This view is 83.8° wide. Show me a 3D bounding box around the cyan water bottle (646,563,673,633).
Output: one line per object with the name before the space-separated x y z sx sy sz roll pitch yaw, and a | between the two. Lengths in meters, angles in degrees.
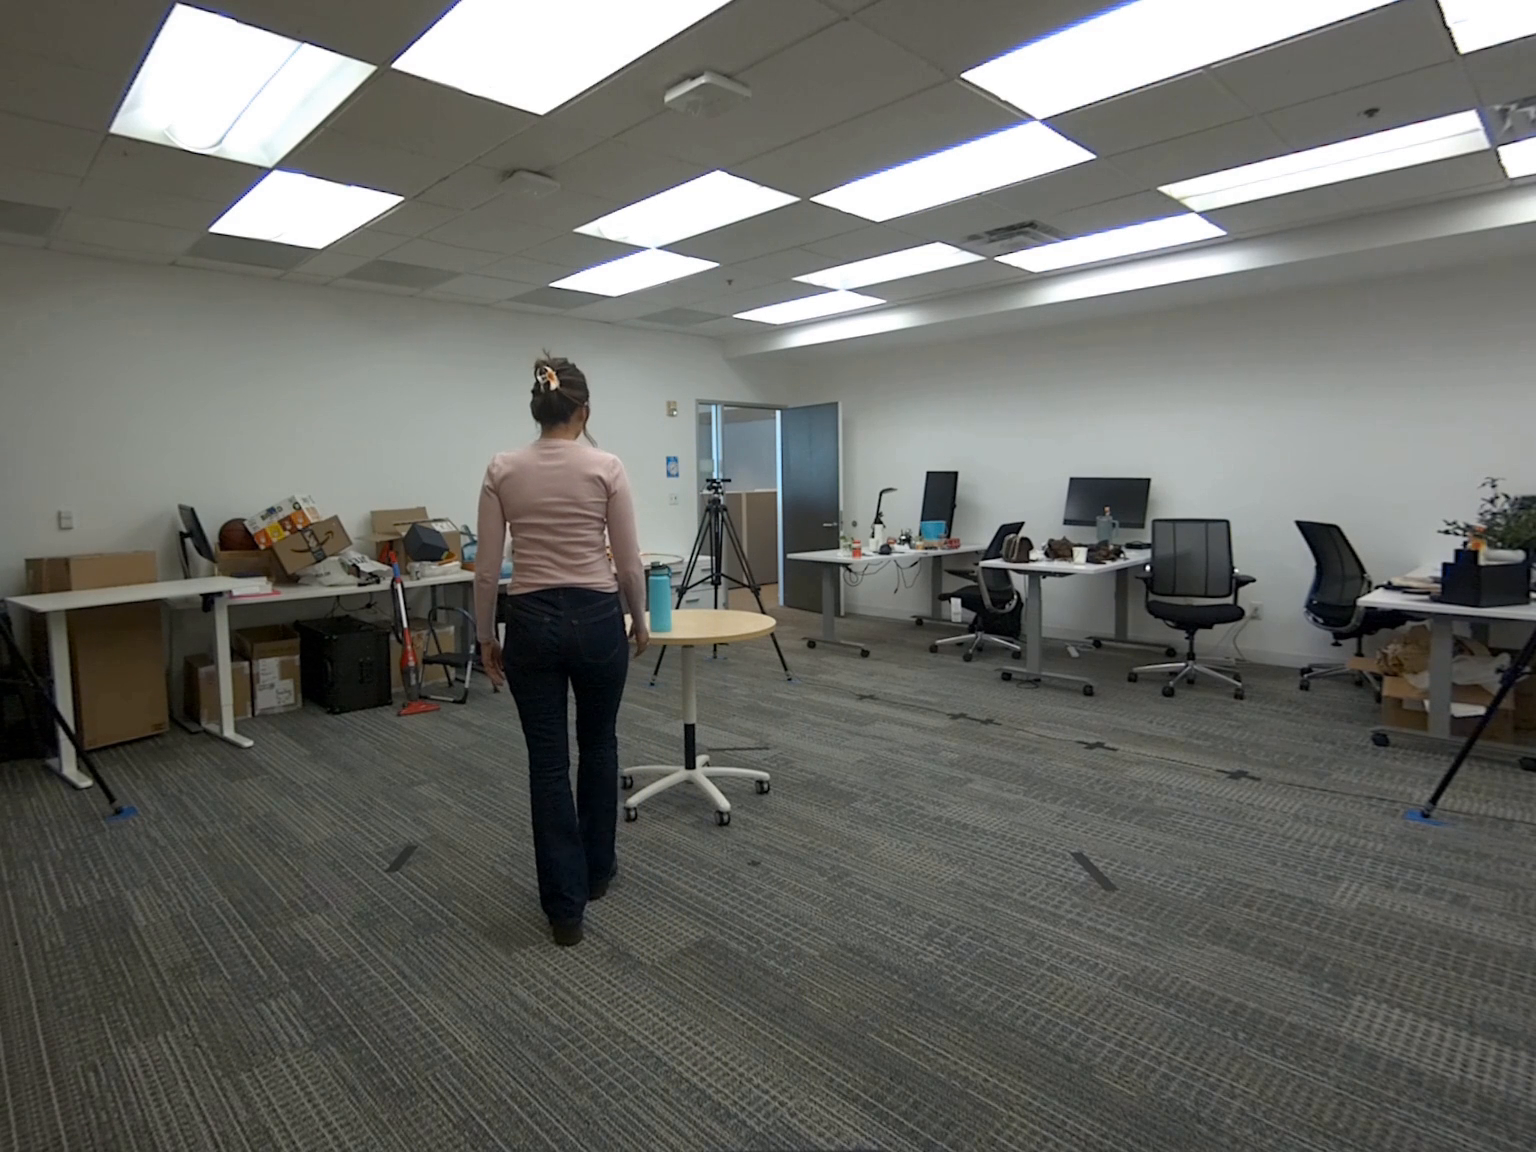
cyan water bottle | -0.445 0.083 3.492 0.092 0.283 0.092 -2 3 -2
